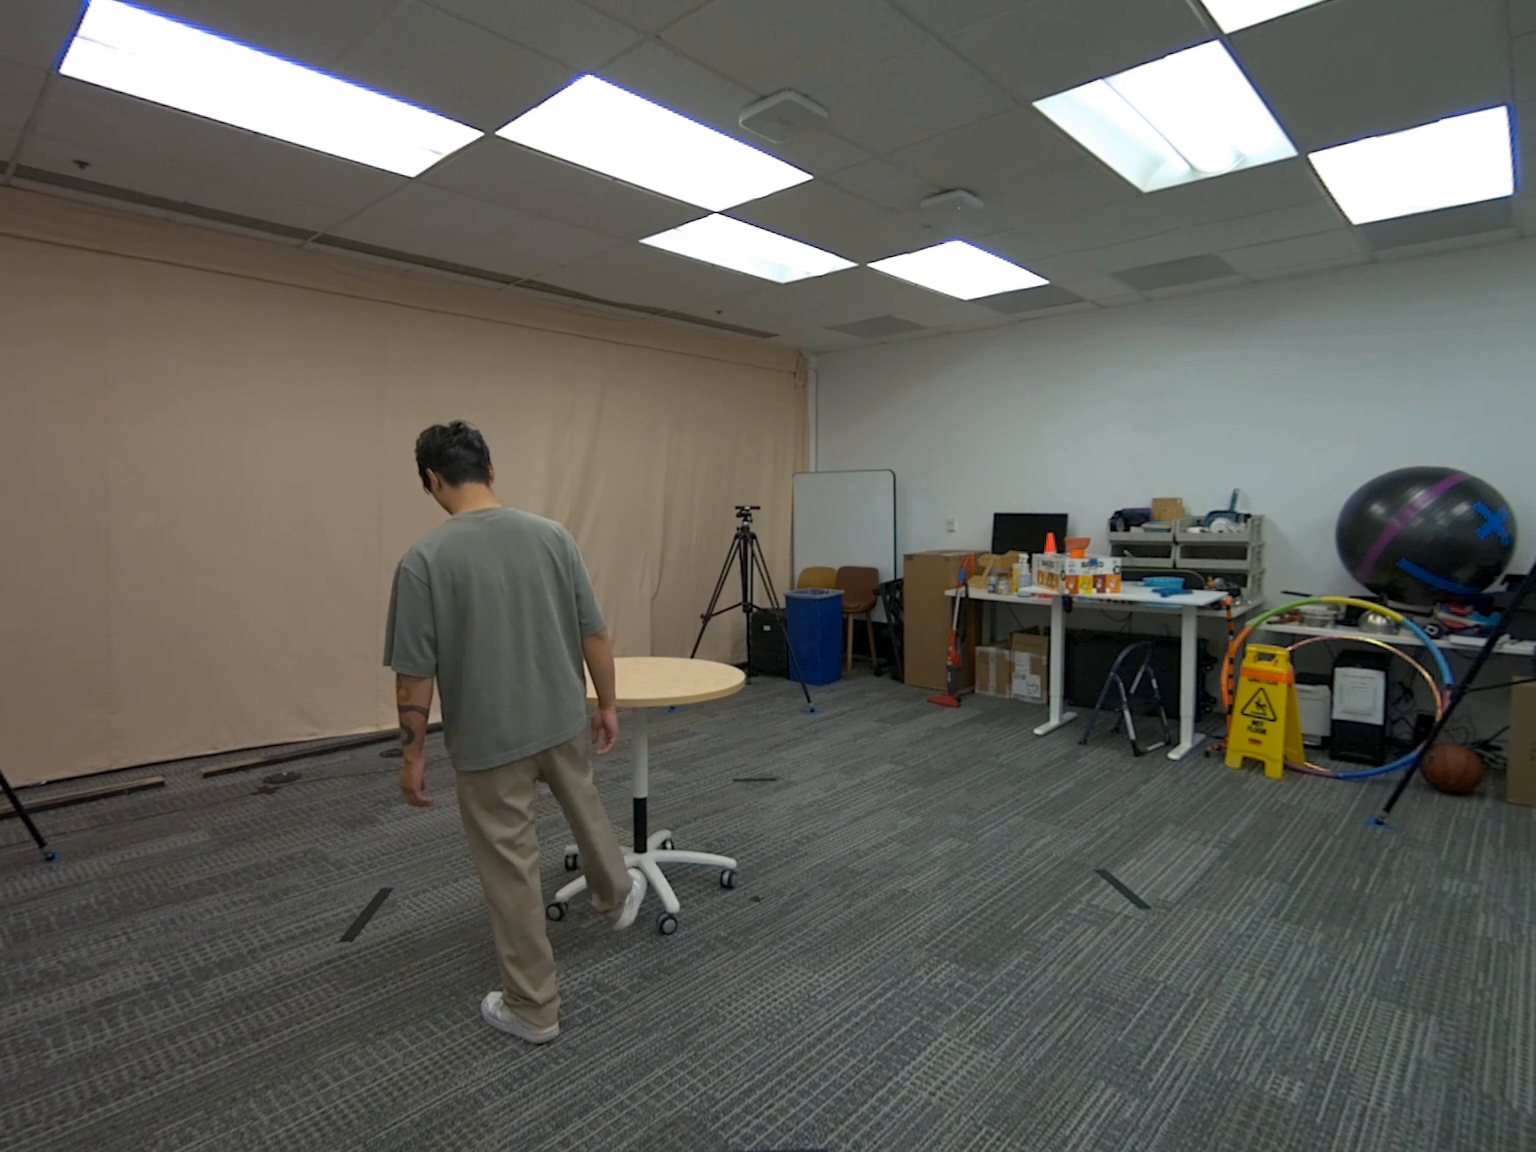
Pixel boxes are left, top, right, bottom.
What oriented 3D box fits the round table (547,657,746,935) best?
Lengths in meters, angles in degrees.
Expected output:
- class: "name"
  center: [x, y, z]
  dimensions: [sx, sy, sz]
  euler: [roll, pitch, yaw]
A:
- class: "round table"
  center: [-0.456, 0.746, 3.056]
  dimensions: [0.784, 0.785, 0.788]
  euler: [0, 4, -2]
